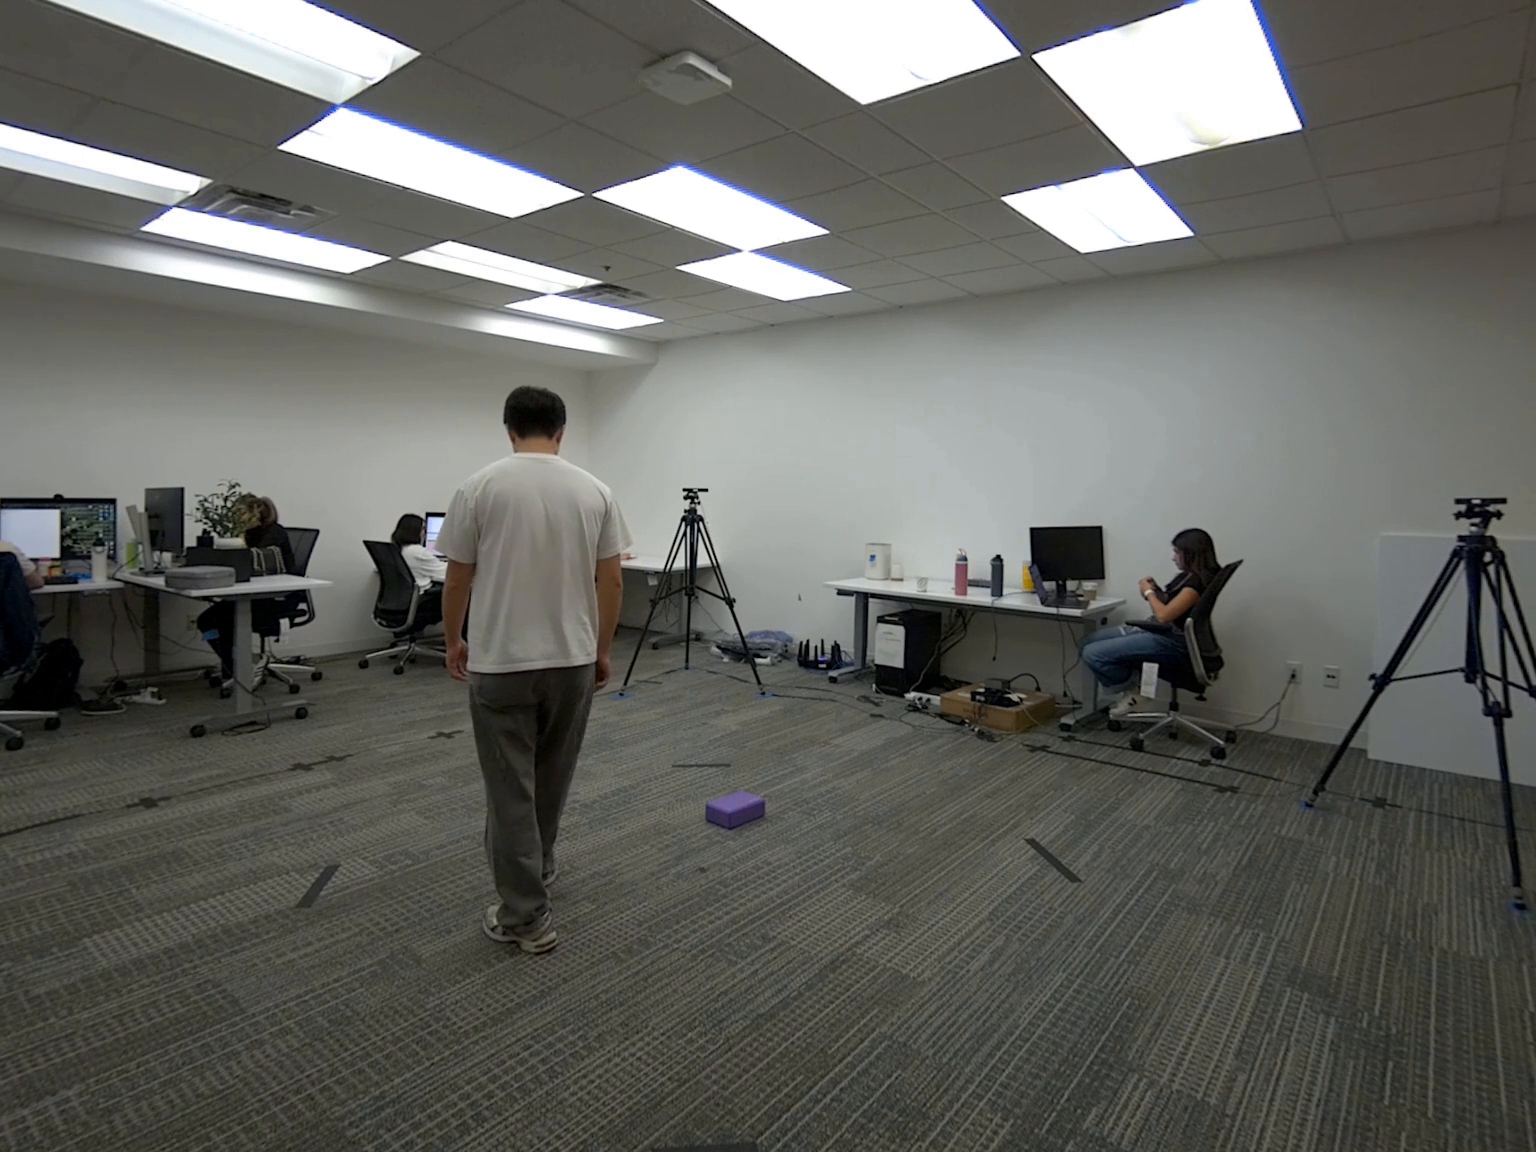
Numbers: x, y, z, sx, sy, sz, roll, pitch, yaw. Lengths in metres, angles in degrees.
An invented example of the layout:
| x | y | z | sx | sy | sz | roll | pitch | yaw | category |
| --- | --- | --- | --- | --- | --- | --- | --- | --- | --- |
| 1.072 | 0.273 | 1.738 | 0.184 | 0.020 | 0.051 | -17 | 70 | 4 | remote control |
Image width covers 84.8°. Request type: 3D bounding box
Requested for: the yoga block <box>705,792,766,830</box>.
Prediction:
| x | y | z | sx | sy | sz | roll | pitch | yaw | category |
| --- | --- | --- | --- | --- | --- | --- | --- | --- | --- |
| -0.136 | 0.979 | 3.605 | 0.154 | 0.076 | 0.222 | 6 | 7 | 42 | yoga block |
